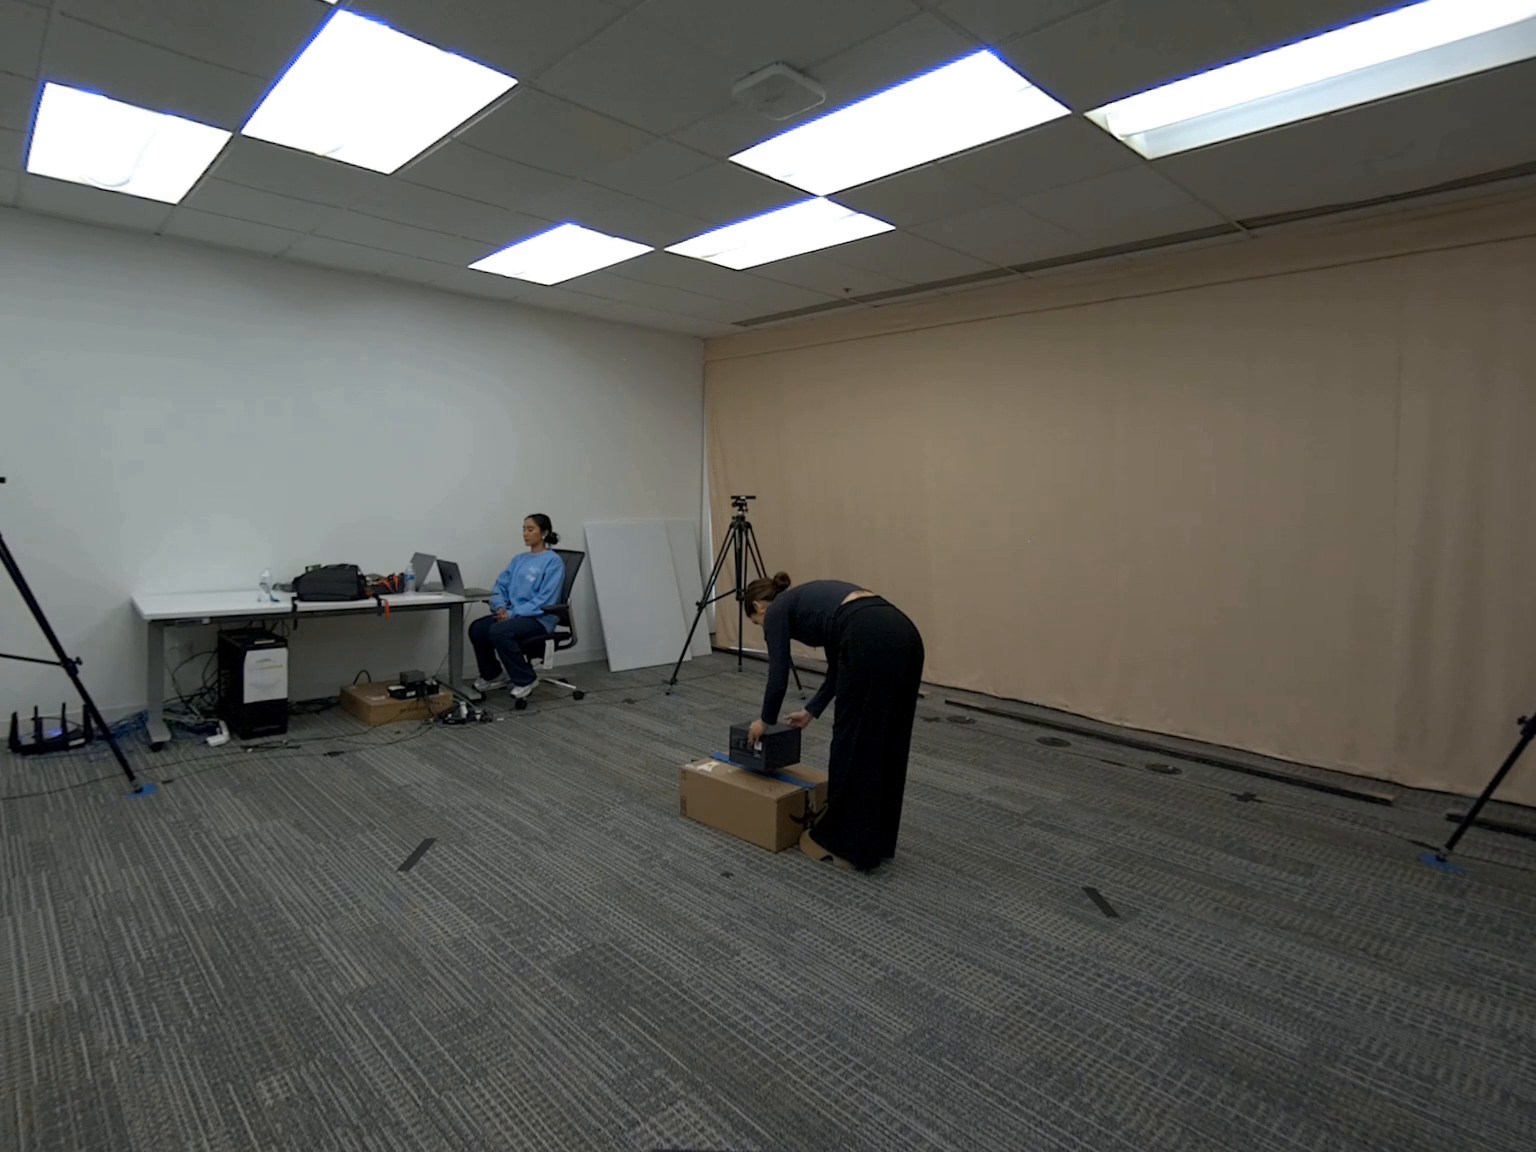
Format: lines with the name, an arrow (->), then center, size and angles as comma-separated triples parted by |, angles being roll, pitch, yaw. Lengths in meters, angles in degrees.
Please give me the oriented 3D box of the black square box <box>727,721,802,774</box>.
black square box -> -0.015, 0.721, 3.616 | 0.222, 0.156, 0.222 | 3, 2, 43
